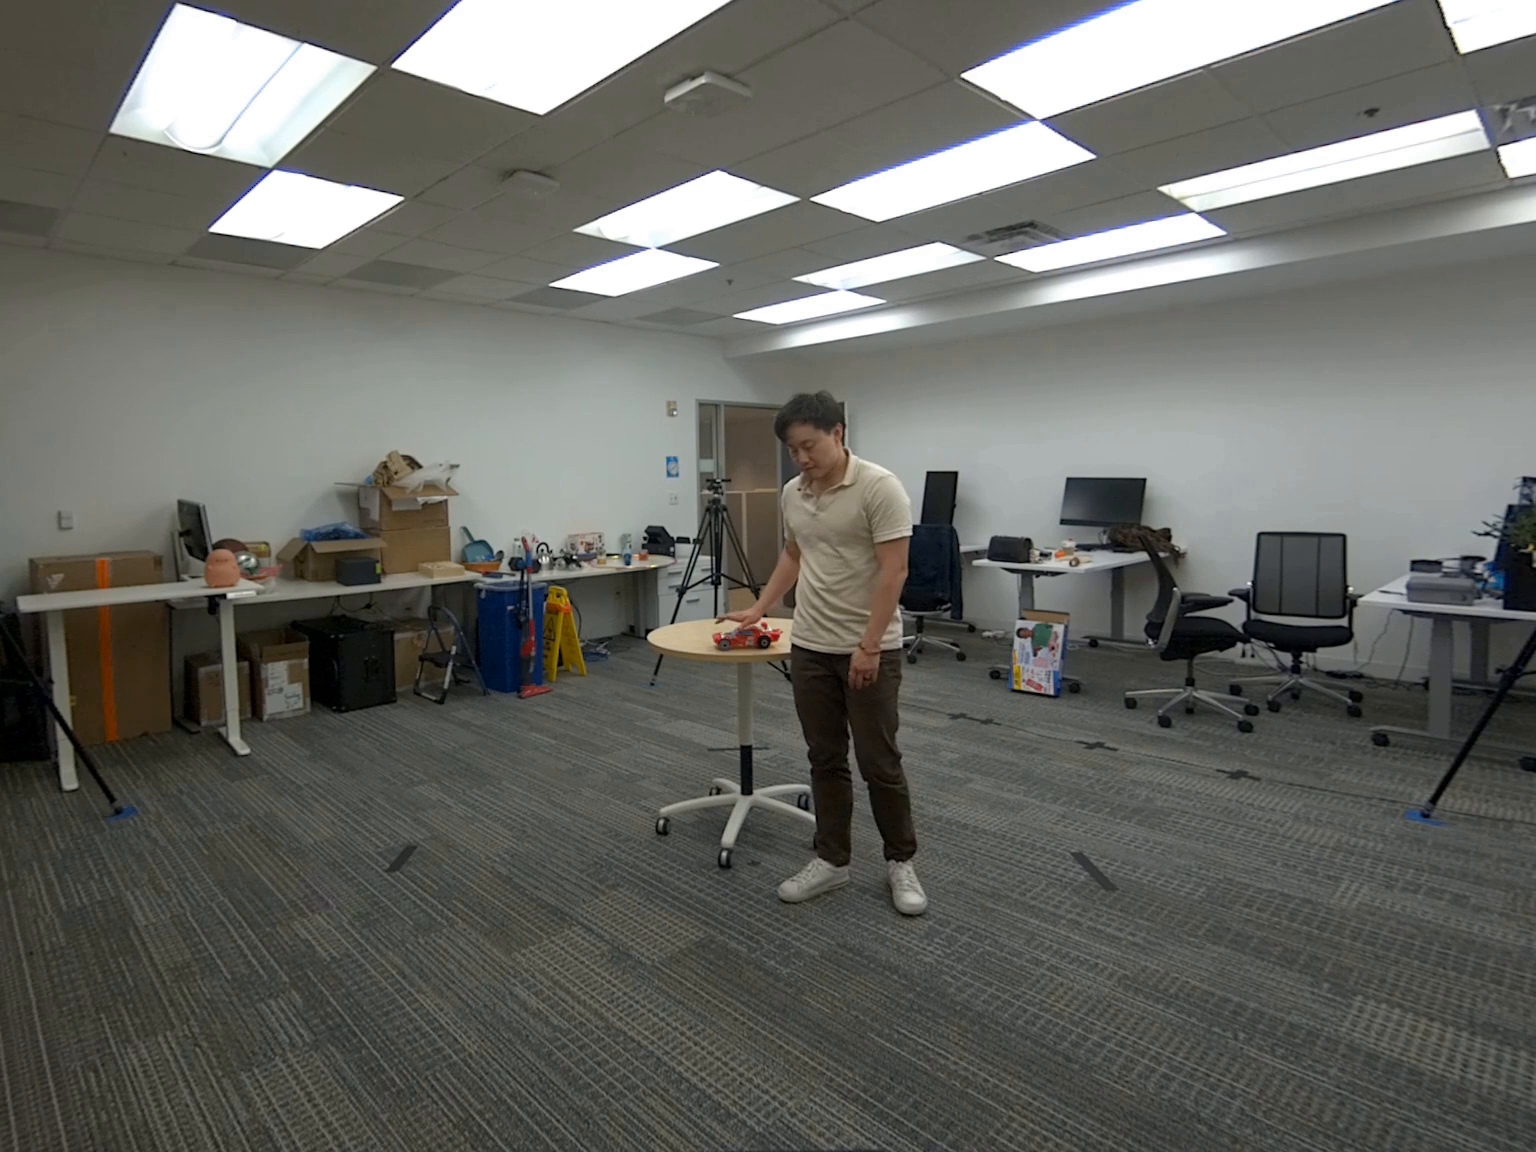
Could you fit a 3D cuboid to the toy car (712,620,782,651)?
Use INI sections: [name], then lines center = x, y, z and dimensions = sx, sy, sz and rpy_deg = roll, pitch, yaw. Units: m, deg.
[toy car]
center = -0.069, 0.226, 3.127
dimensions = 0.253, 0.082, 0.132
rpy_deg = -12, 8, -6
